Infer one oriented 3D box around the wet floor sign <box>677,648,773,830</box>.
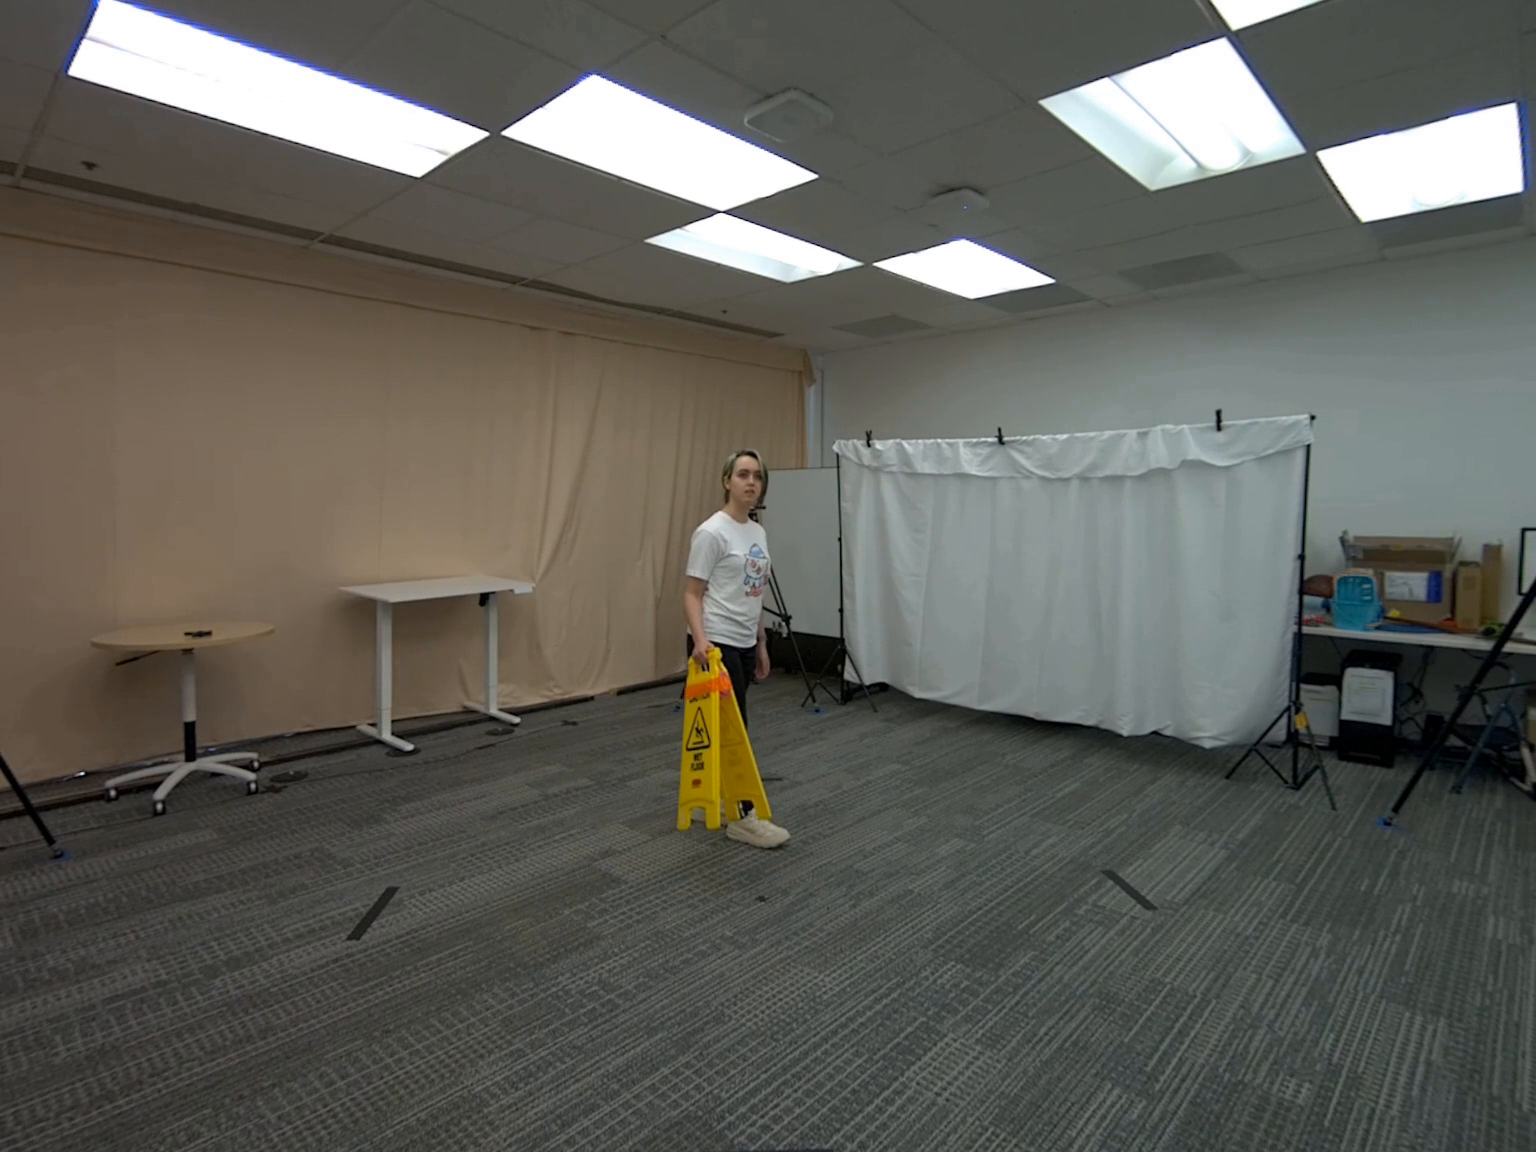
[{"bbox_3d":[-0.200,0.607,3.218,0.281,0.653,0.288,2,-17,-35],"label":"wet floor sign"}]
